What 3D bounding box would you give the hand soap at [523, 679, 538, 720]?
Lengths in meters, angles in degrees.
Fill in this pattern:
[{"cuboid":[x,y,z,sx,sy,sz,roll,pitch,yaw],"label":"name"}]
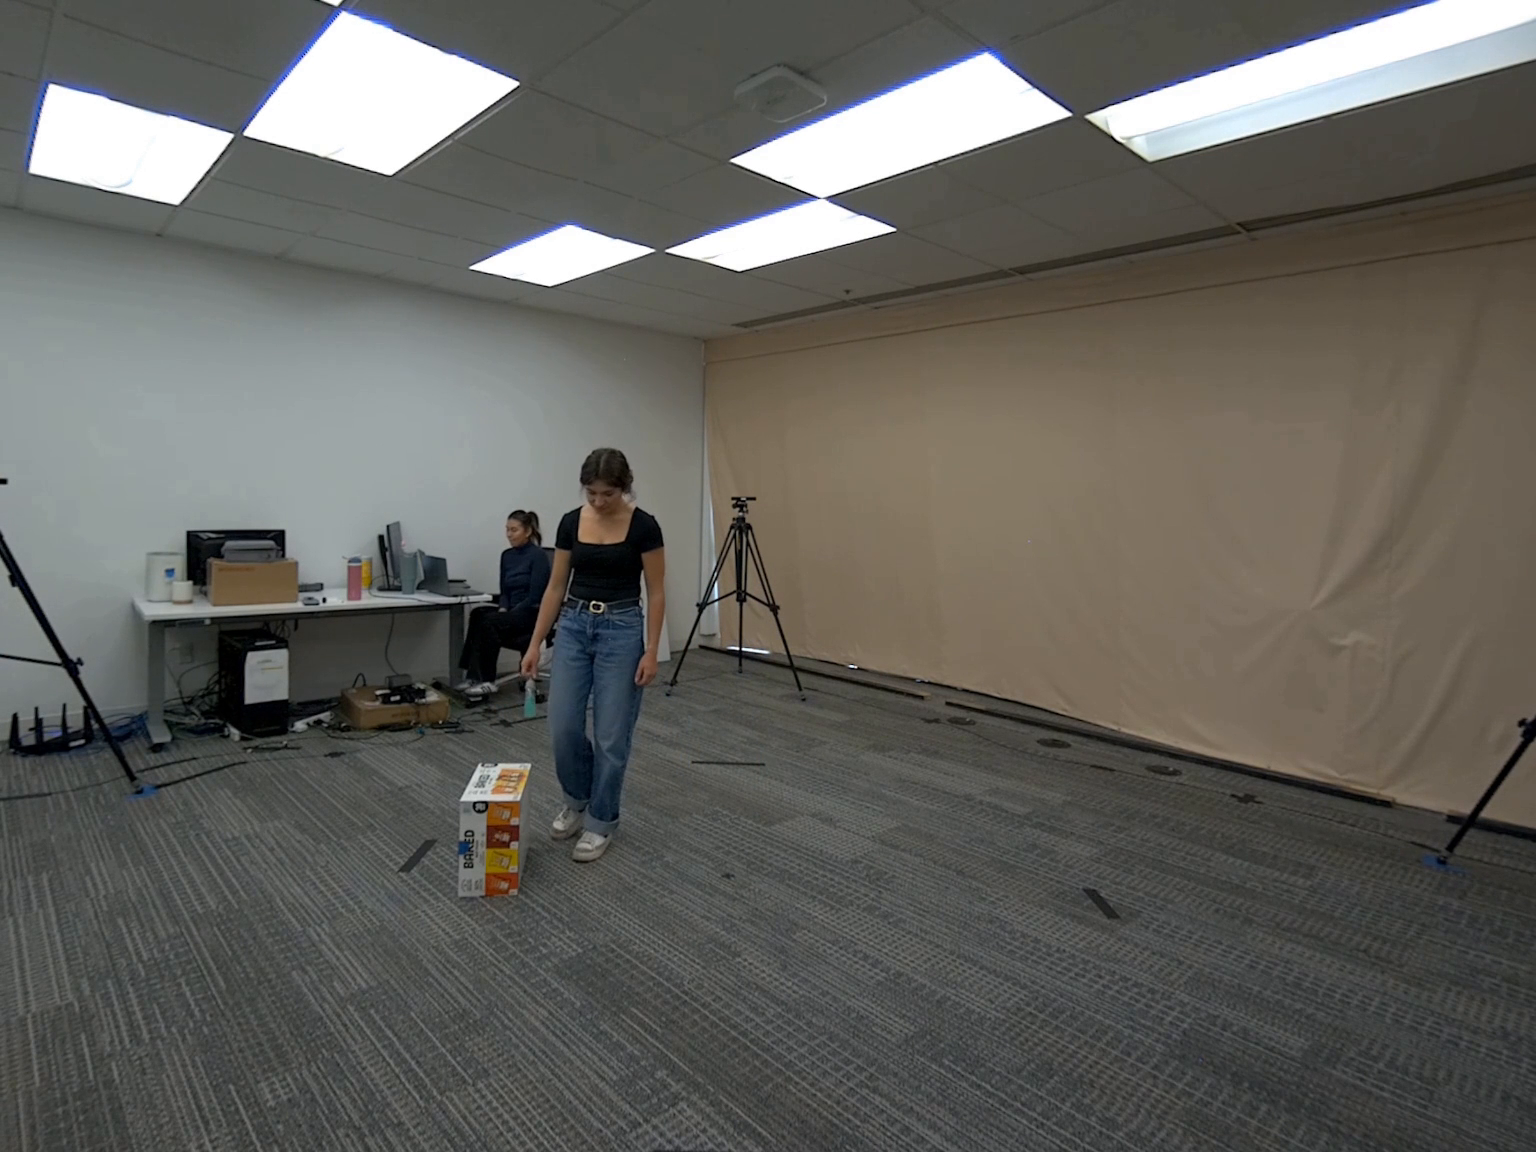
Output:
[{"cuboid":[-0.908,0.451,3.203,0.043,0.168,0.085,5,1,-7],"label":"hand soap"}]
